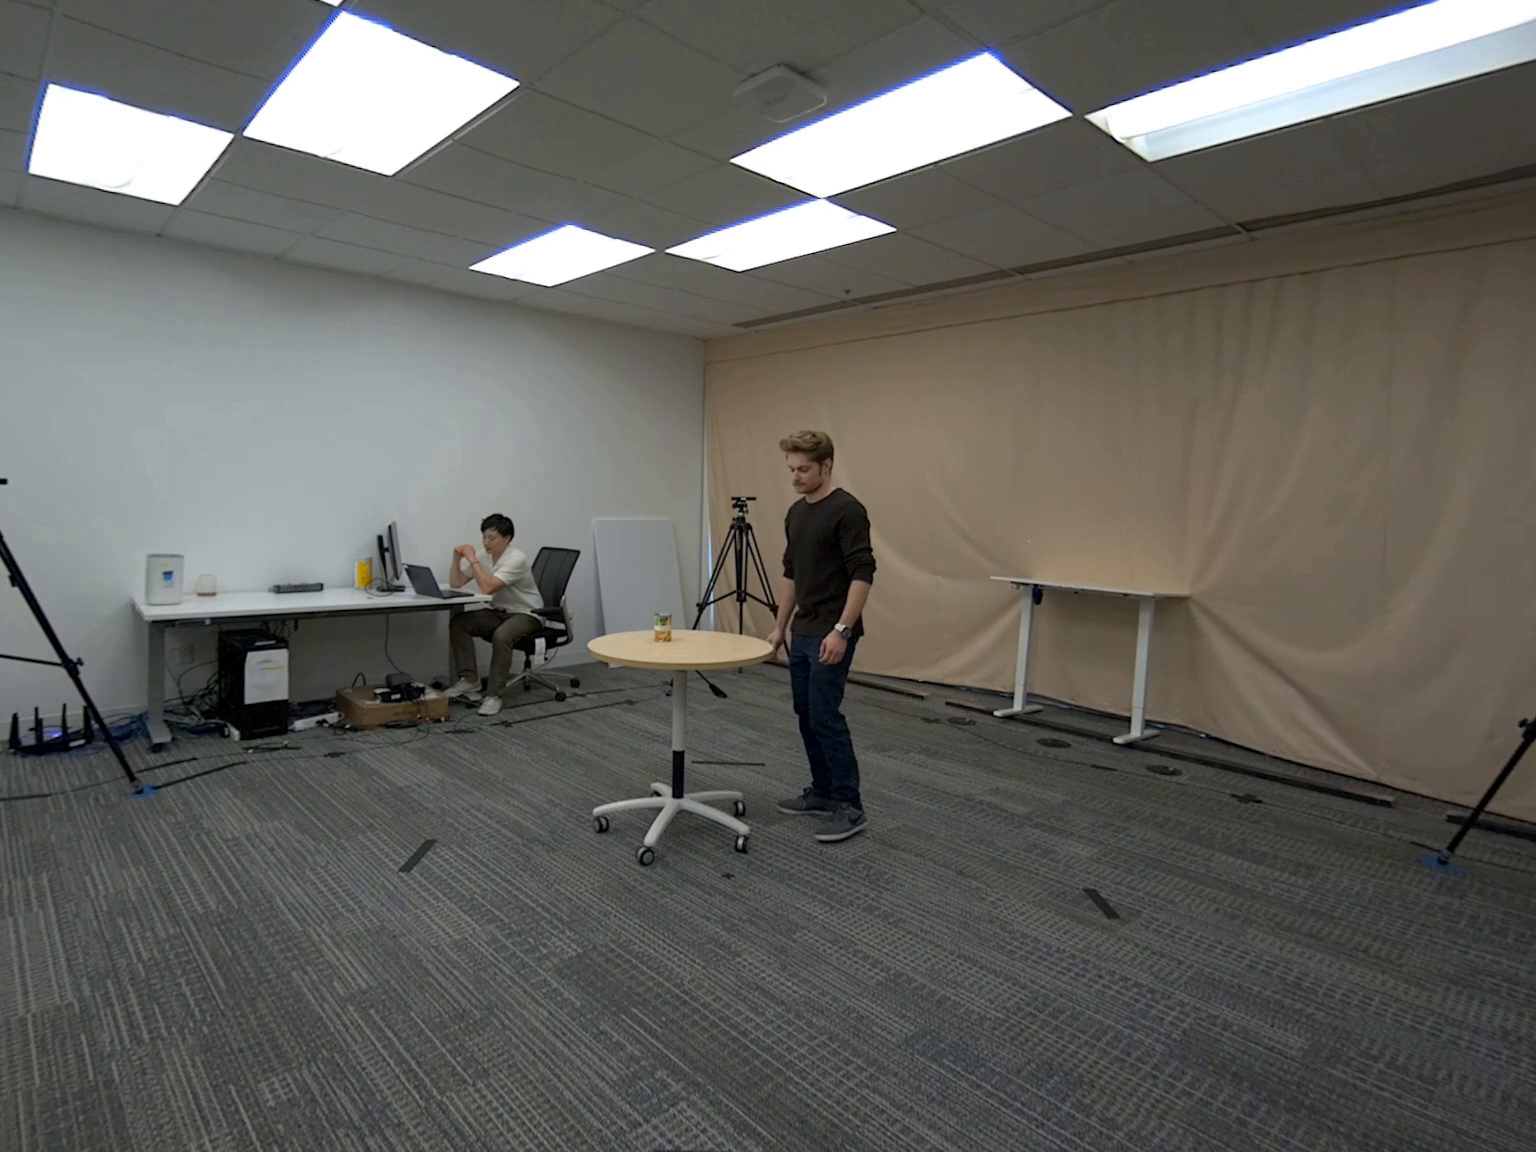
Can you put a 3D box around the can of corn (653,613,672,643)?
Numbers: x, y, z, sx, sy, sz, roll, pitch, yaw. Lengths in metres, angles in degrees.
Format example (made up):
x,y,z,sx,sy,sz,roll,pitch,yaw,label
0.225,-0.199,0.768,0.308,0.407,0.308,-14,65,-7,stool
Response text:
x,y,z,sx,sy,sz,roll,pitch,yaw,label
-0.451,0.216,3.574,0.074,0.111,0.074,2,-1,-1,can of corn
